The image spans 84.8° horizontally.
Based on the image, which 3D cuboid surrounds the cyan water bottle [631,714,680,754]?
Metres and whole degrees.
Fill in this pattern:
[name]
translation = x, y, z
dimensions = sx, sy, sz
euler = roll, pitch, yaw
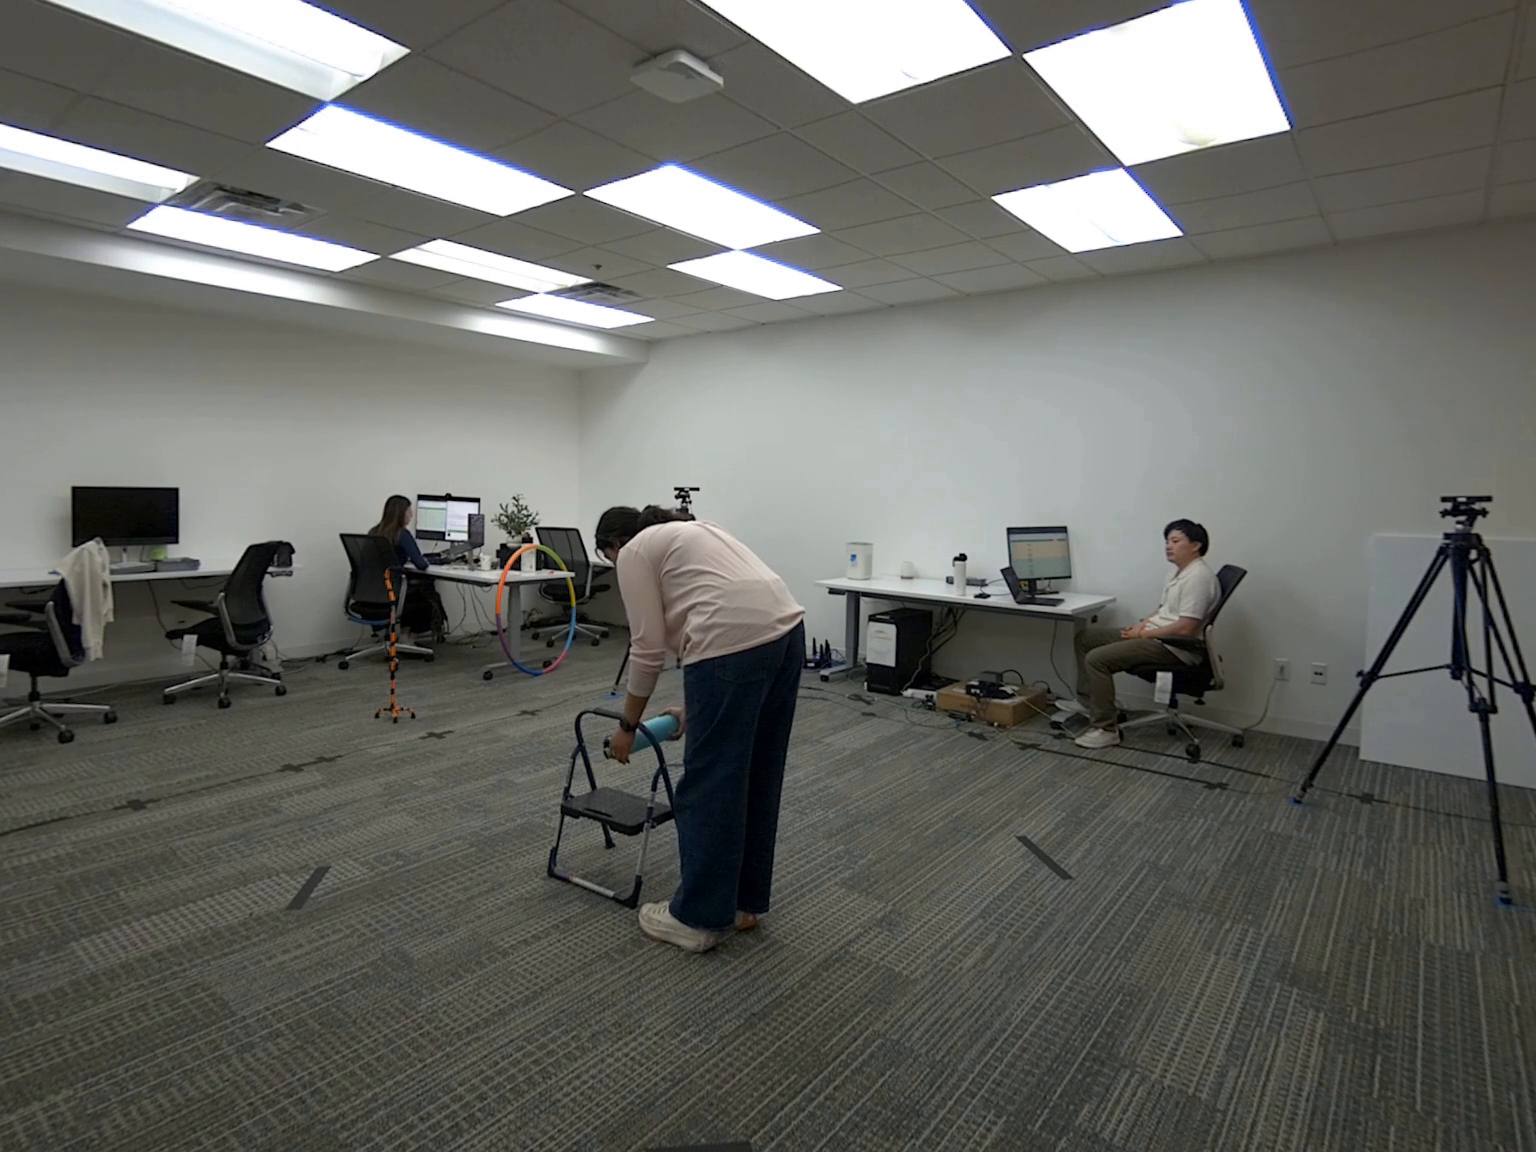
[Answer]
[cyan water bottle]
translation = -0.480, 0.573, 3.051
dimensions = 0.278, 0.091, 0.095
euler = -17, 12, -28
